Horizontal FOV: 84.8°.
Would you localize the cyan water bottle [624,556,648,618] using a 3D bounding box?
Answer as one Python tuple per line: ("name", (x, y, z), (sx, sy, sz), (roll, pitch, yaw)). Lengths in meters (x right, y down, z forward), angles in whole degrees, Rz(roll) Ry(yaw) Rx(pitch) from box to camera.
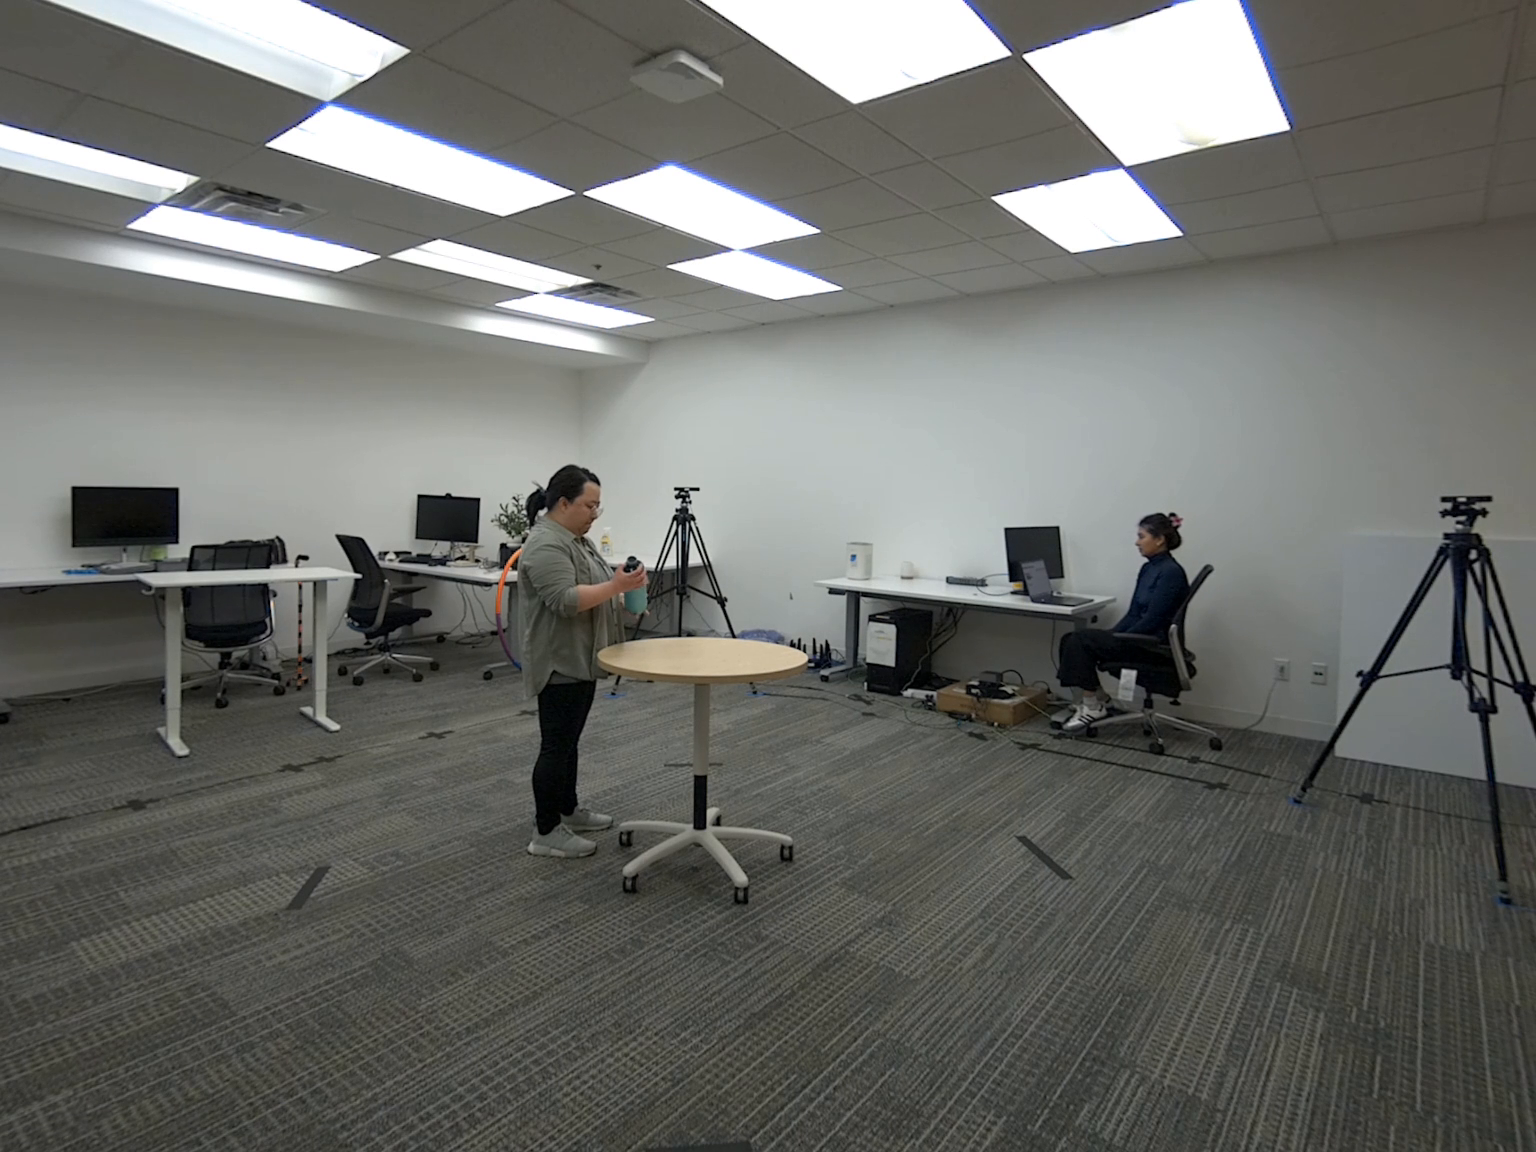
("cyan water bottle", (-0.533, 0.034, 3.287), (0.092, 0.095, 0.276), (2, -37, -2))
